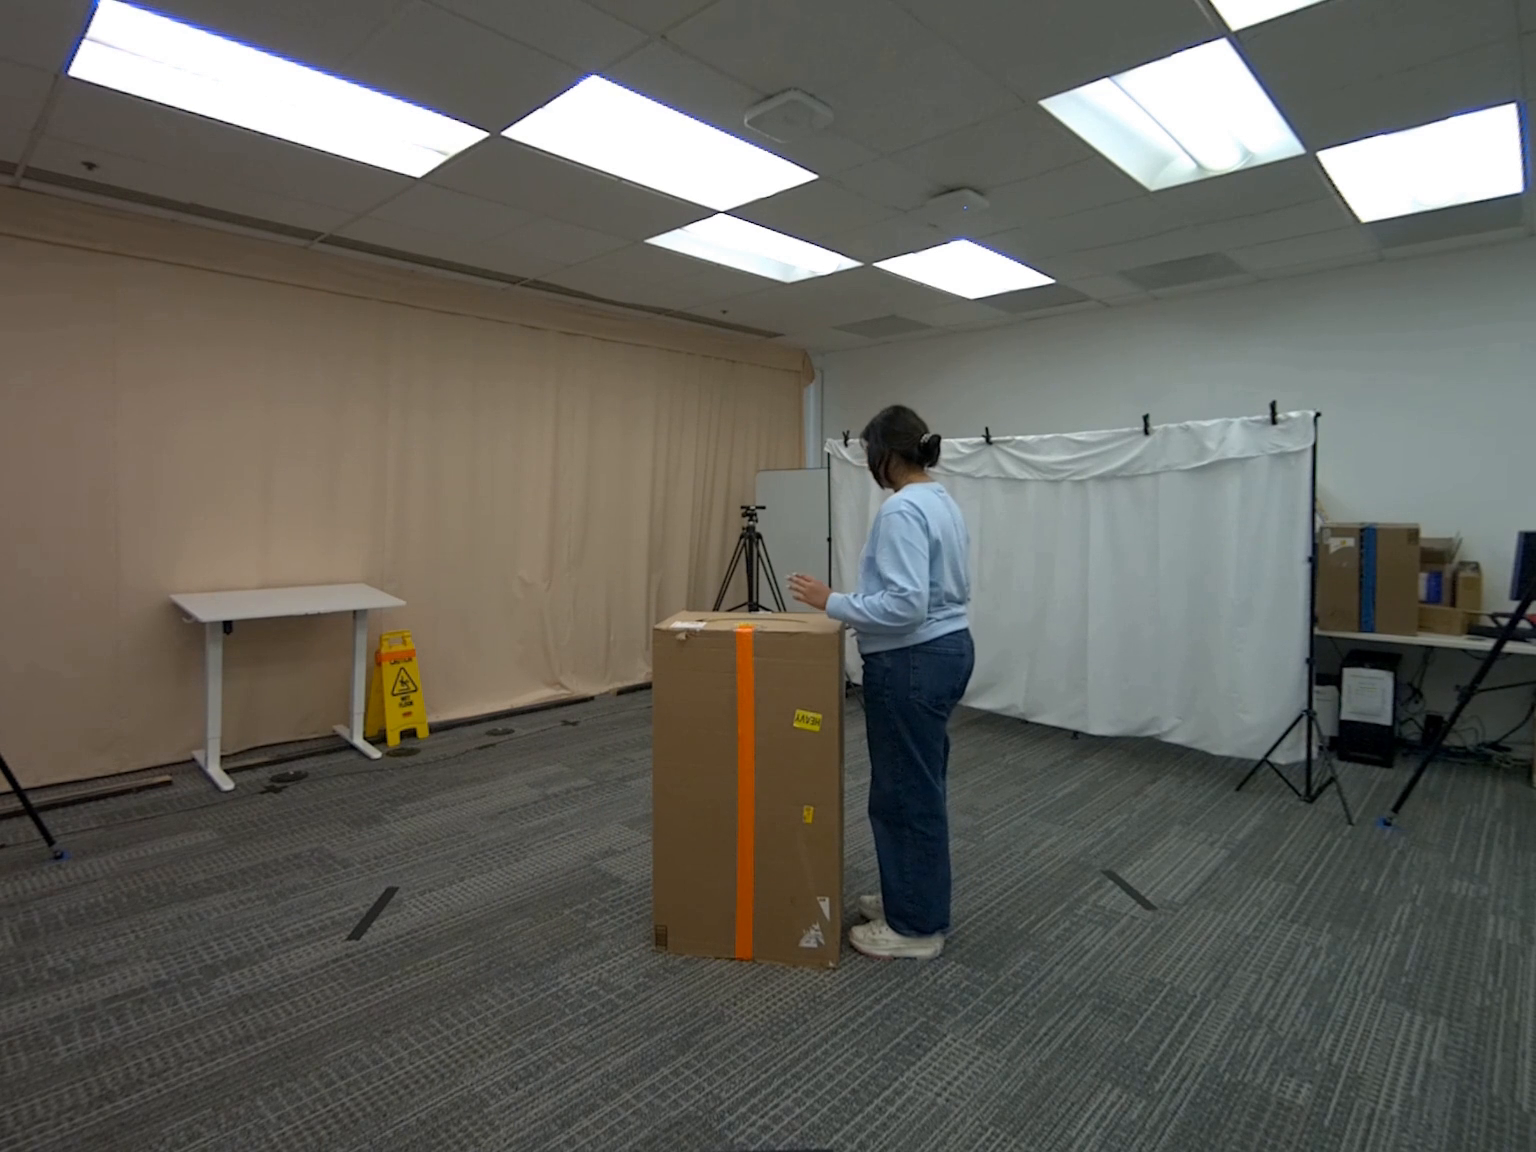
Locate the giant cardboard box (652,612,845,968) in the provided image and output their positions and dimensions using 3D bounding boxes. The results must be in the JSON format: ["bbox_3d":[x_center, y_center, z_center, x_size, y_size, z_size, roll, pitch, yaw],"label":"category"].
[{"bbox_3d":[-0.048,0.655,2.767,0.584,1.024,0.422,1,3,9],"label":"giant cardboard box"}]
